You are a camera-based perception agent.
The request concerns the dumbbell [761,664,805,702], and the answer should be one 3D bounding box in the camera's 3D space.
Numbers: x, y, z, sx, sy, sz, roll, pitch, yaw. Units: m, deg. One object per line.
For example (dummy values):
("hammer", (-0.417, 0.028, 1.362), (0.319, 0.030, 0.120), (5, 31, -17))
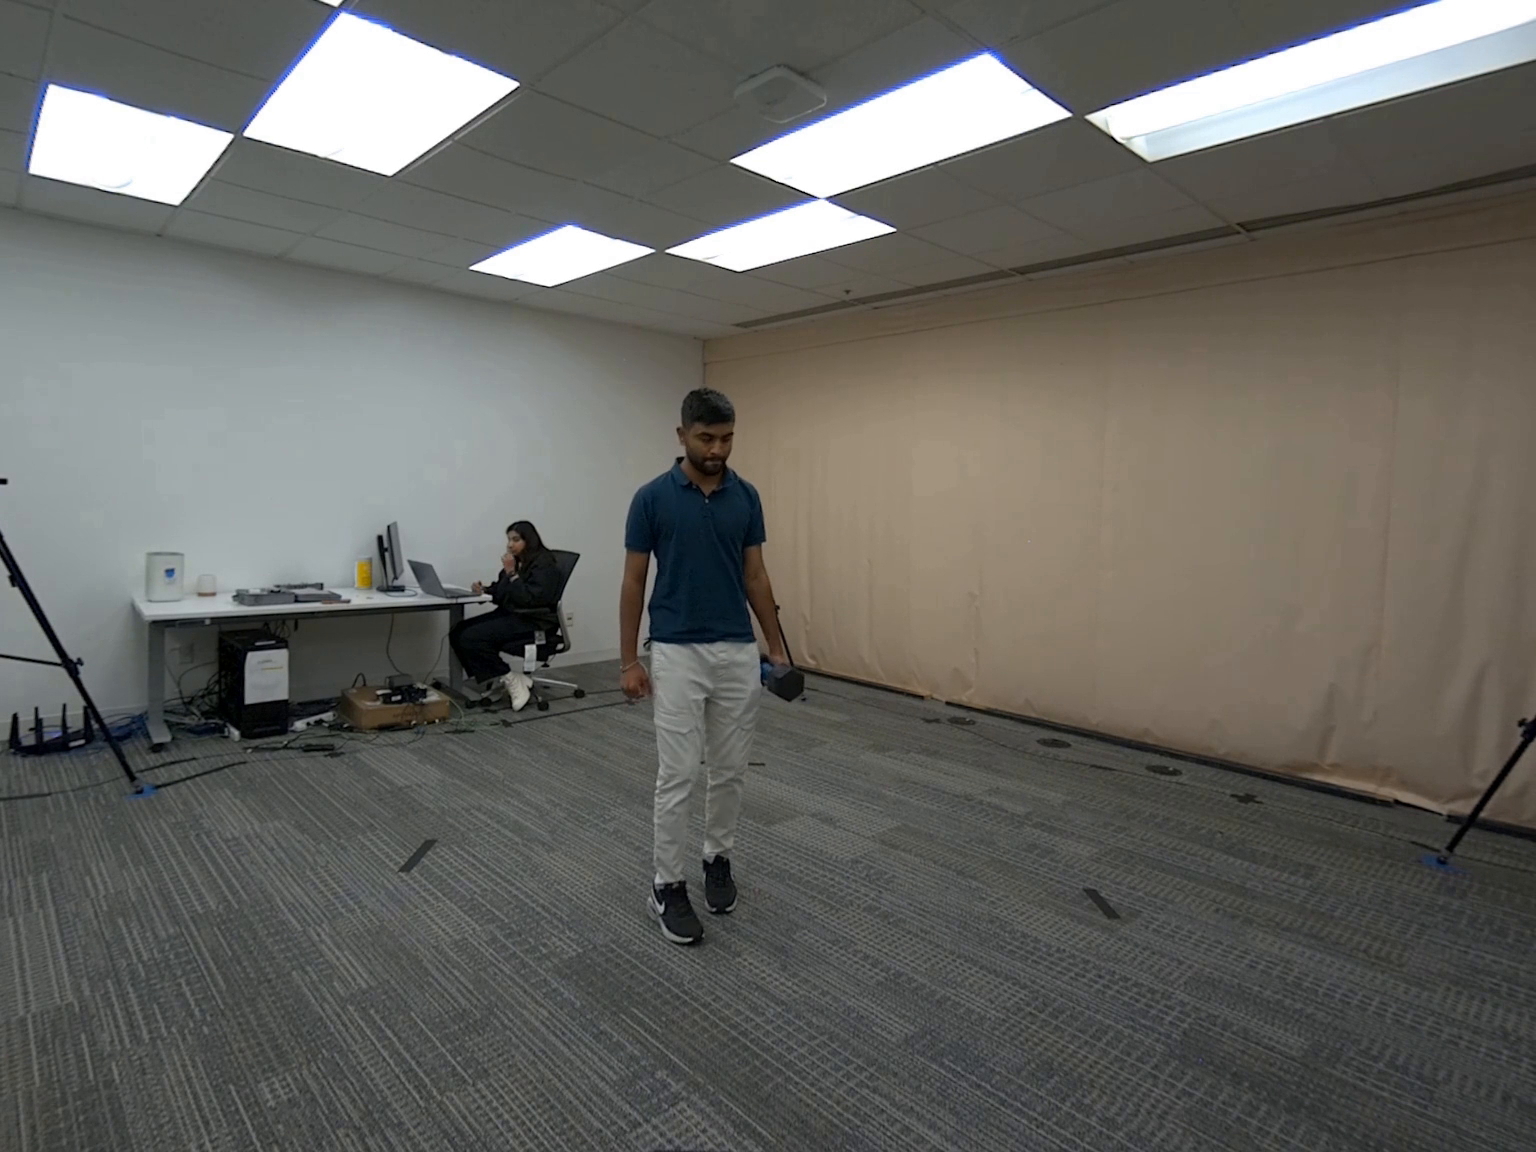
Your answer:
("dumbbell", (-0.001, 0.337, 2.867), (0.107, 0.122, 0.300), (-2, 6, -25))
